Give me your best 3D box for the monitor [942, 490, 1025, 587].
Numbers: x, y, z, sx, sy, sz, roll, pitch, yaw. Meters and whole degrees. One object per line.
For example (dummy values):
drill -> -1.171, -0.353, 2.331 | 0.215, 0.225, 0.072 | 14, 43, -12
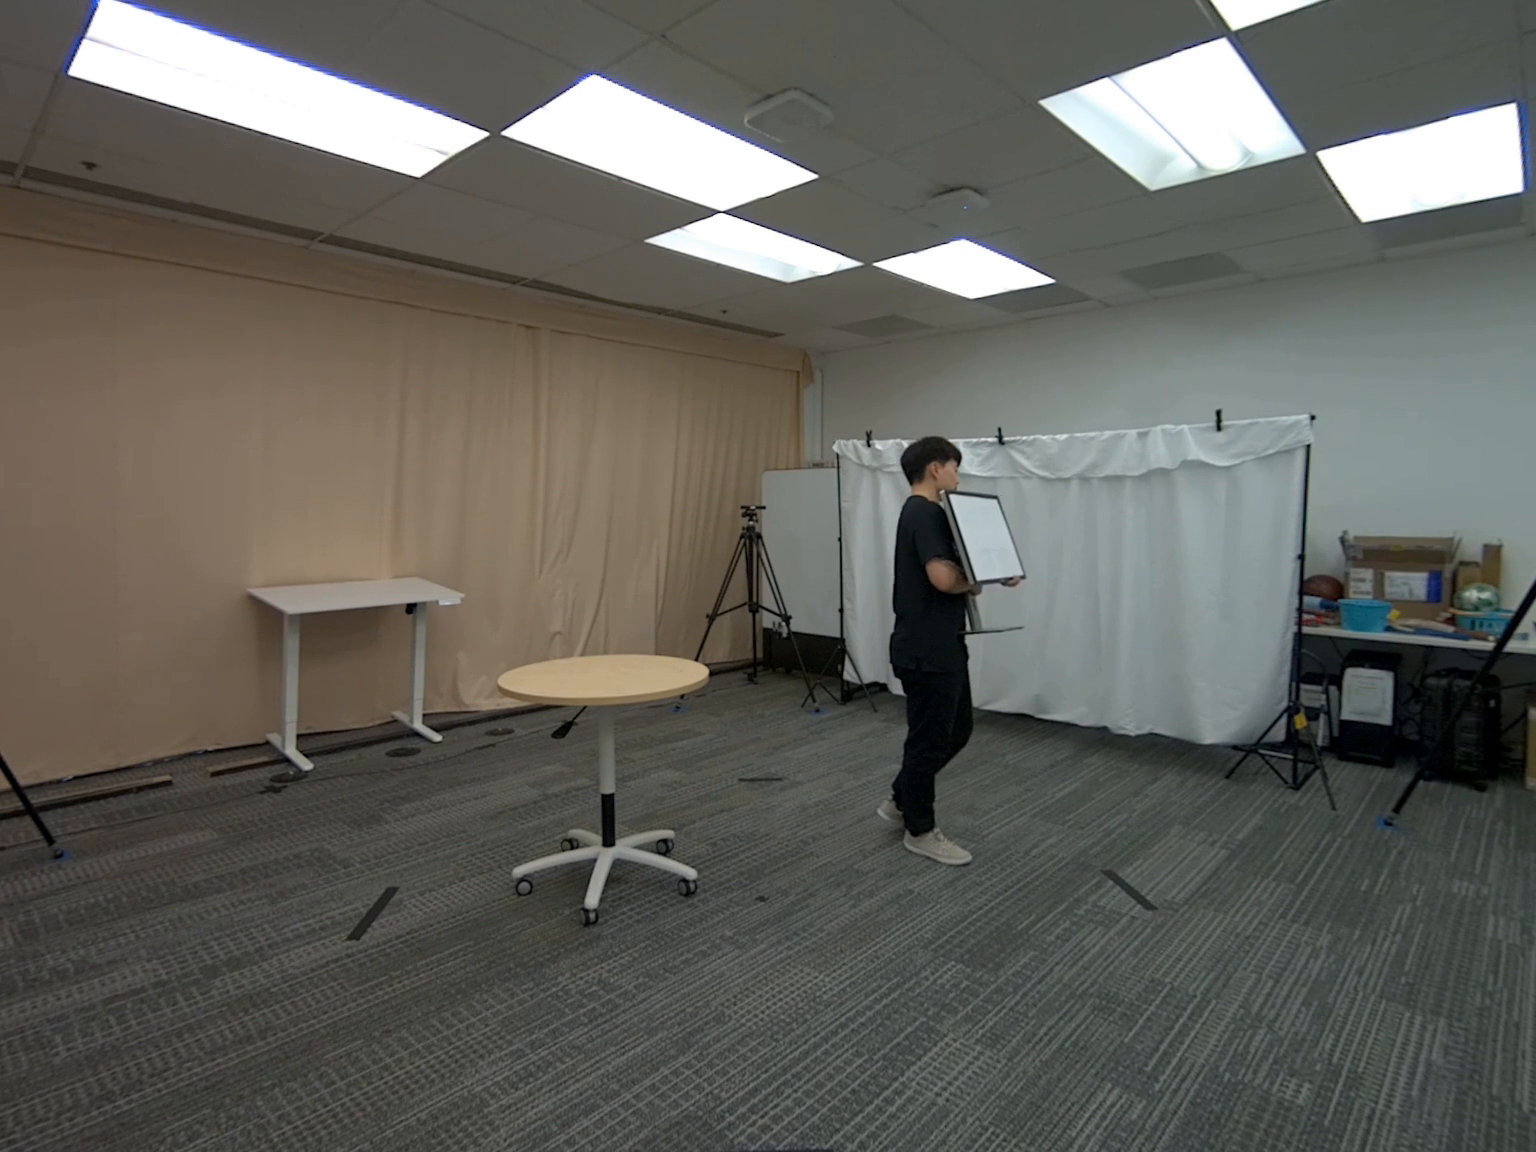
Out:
monitor -> 0.821, -0.053, 3.250 | 0.192, 0.524, 0.523 | -9, -4, 34
